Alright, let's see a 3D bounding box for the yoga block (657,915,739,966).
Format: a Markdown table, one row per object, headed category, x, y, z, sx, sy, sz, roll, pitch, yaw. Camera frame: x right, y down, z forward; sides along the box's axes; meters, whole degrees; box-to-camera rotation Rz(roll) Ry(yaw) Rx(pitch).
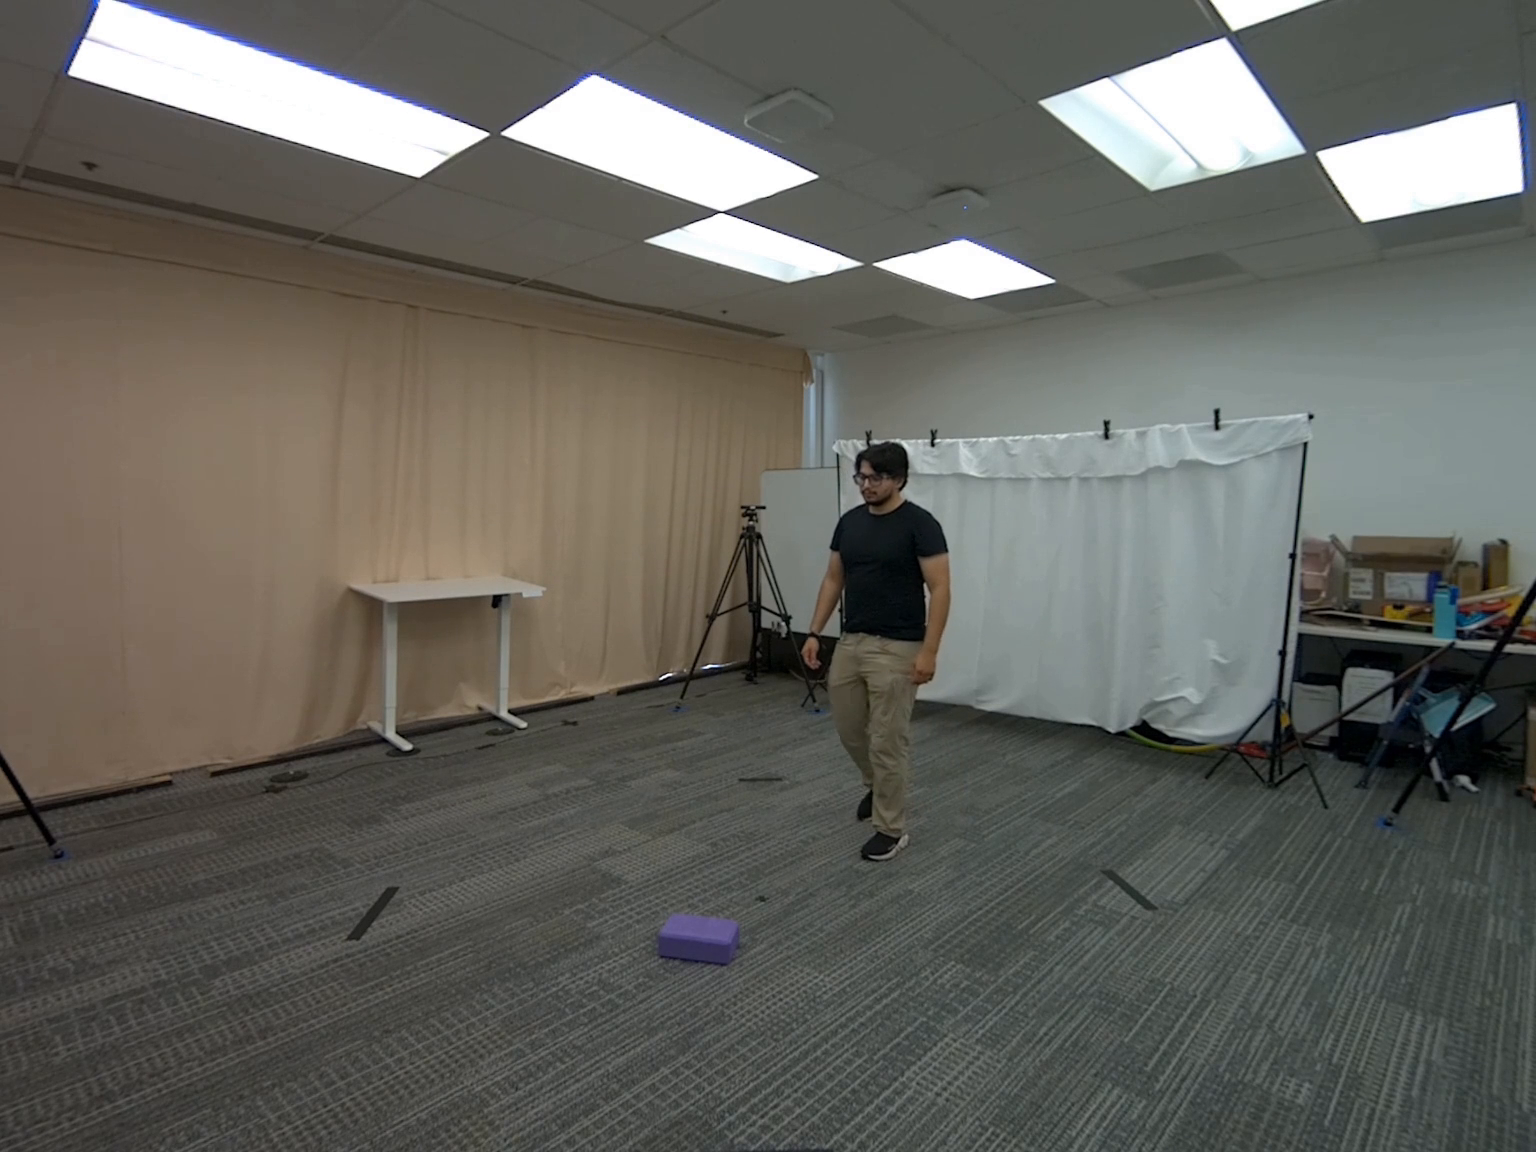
| category | x | y | z | sx | sy | sz | roll | pitch | yaw |
| --- | --- | --- | --- | --- | --- | --- | --- | --- | --- |
| yoga block | -0.212 | 1.132 | 2.635 | 0.233 | 0.076 | 0.147 | 0 | 3 | 13 |
